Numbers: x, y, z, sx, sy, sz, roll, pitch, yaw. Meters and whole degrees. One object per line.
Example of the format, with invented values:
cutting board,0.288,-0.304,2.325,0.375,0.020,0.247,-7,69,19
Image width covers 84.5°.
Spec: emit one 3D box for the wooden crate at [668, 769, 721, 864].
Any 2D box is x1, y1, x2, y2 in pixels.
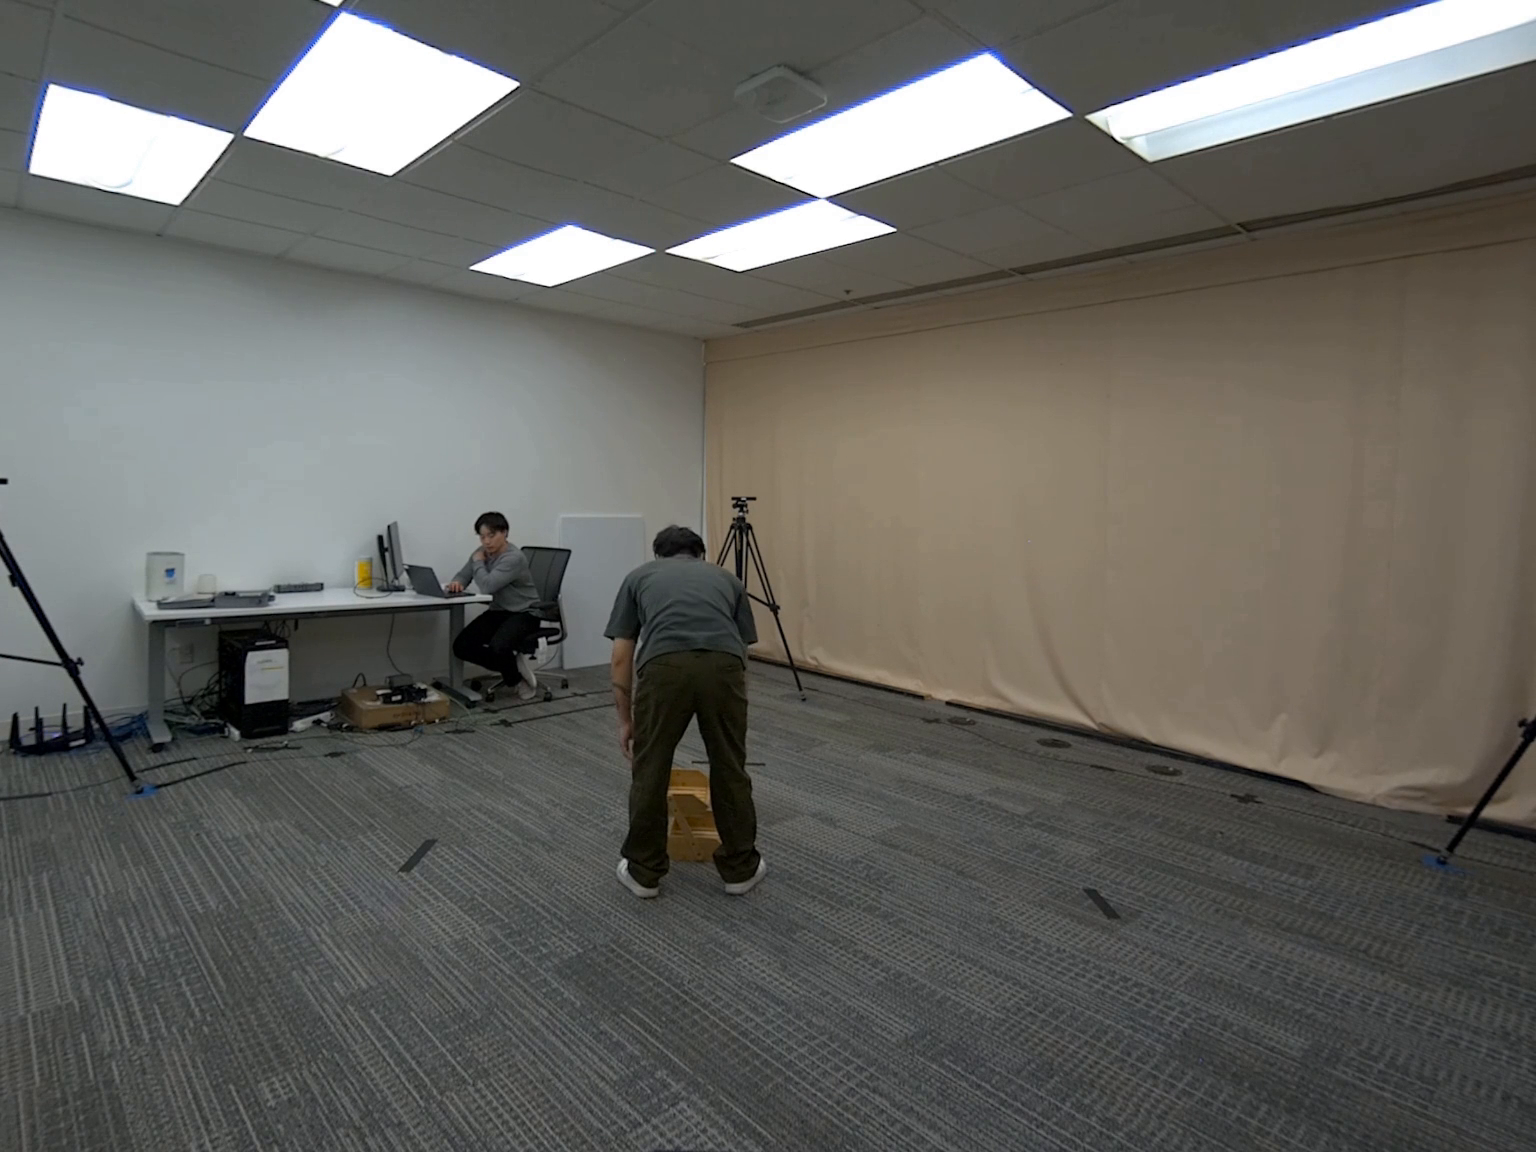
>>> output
wooden crate,-0.284,0.945,3.372,0.302,0.272,0.325,1,4,1
